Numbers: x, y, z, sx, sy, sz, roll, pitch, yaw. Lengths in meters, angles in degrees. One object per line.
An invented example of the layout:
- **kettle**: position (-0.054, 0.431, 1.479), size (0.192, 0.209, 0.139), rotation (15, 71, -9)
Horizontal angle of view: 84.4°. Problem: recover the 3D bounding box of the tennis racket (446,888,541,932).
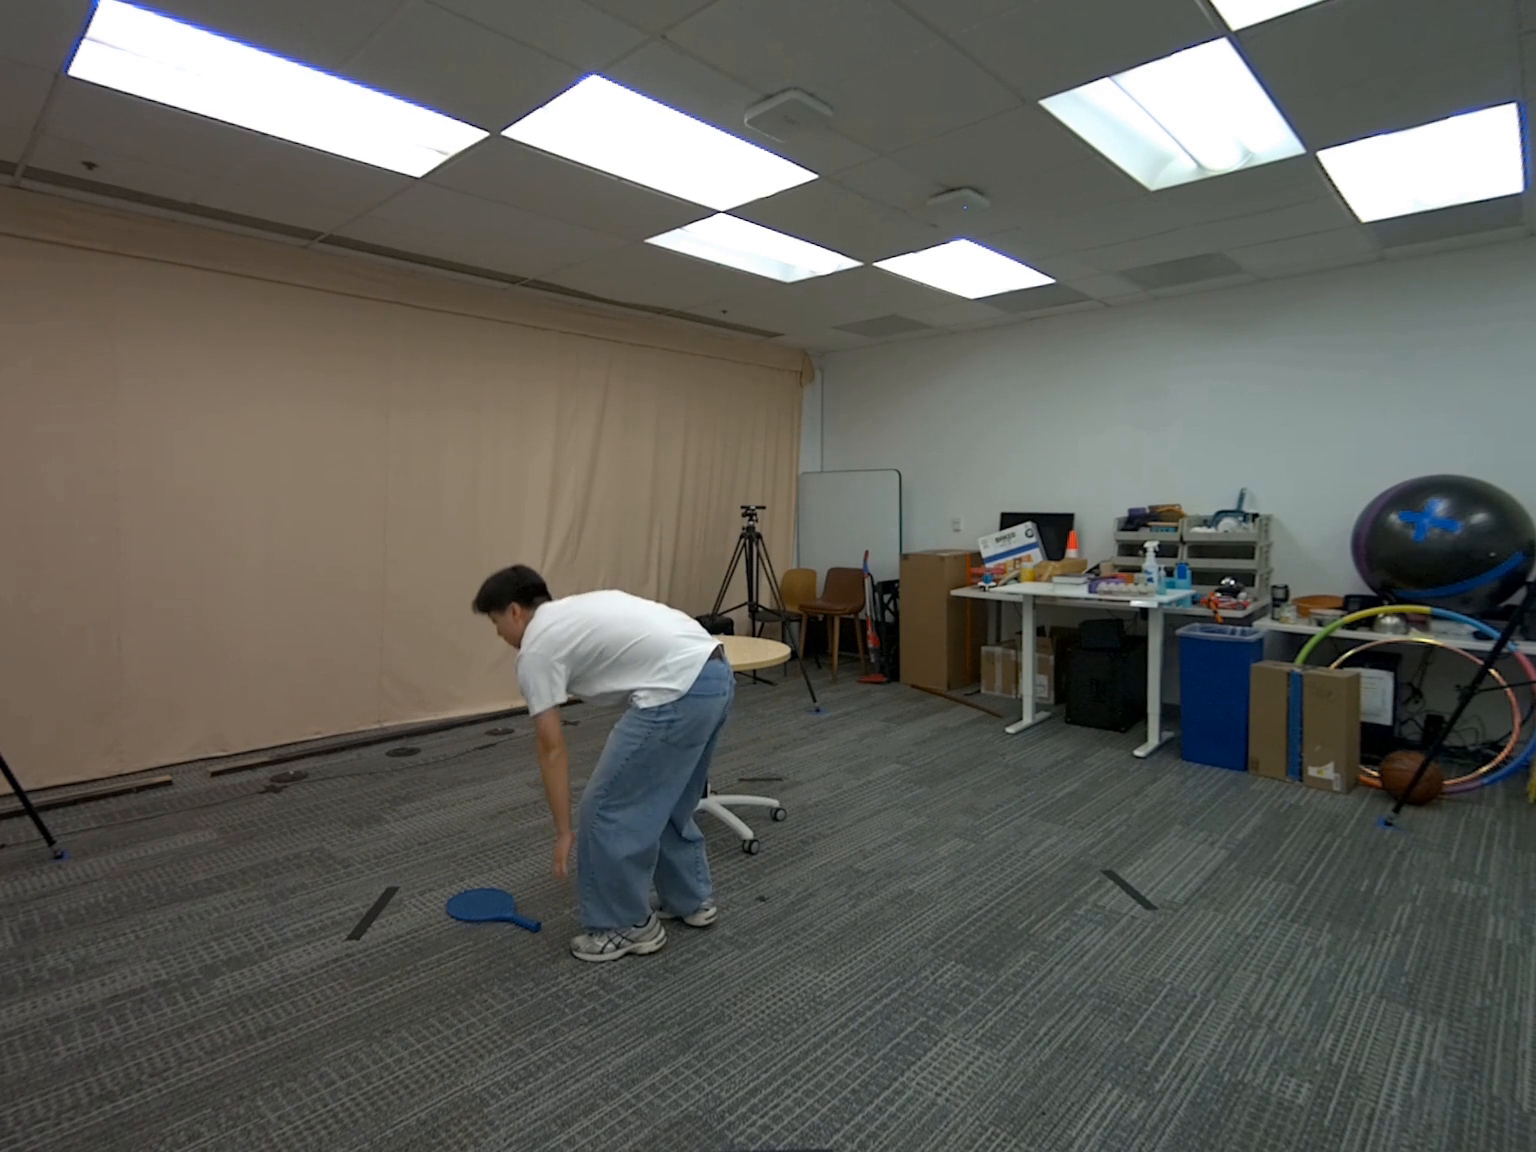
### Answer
- **tennis racket**: position (-0.933, 1.145, 2.883), size (0.446, 0.032, 0.207), rotation (1, 5, 37)
